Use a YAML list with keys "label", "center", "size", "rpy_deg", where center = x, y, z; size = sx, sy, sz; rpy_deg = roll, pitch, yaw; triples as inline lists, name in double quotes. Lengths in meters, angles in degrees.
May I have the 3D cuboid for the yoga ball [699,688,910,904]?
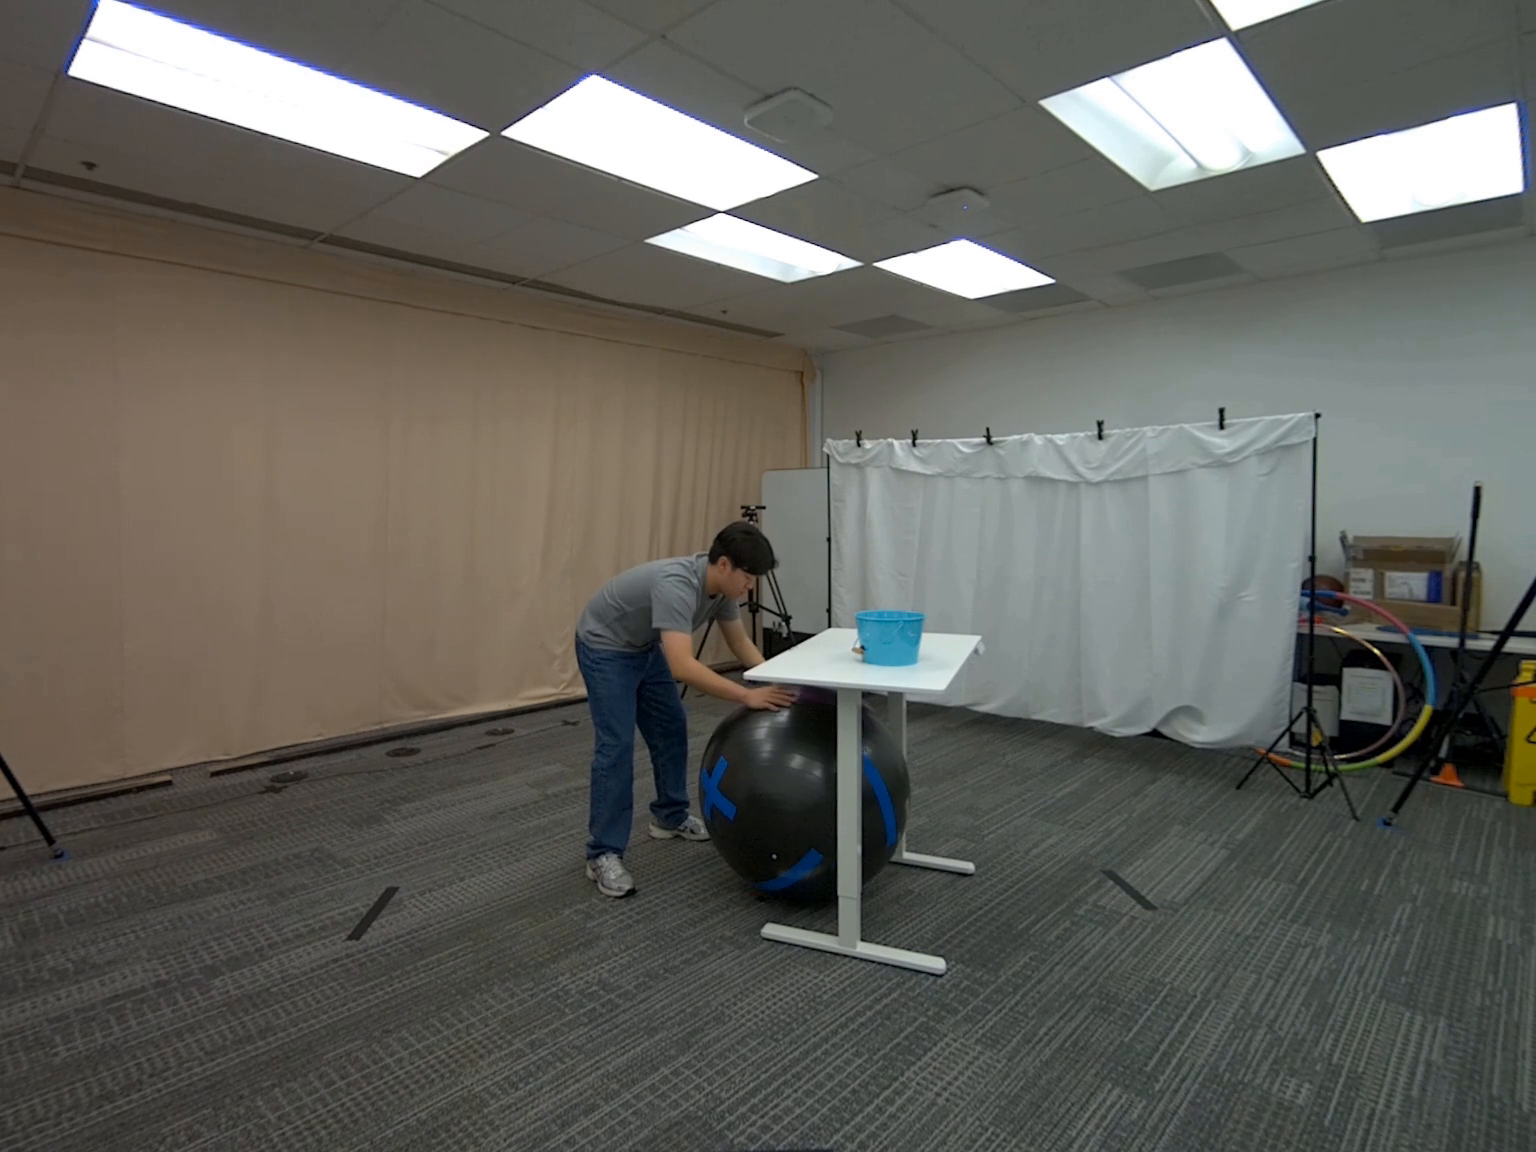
- label: "yoga ball"
  center: [0.127, 0.770, 3.056]
  size: [0.757, 0.756, 0.760]
  rpy_deg: [0, 4, -2]
